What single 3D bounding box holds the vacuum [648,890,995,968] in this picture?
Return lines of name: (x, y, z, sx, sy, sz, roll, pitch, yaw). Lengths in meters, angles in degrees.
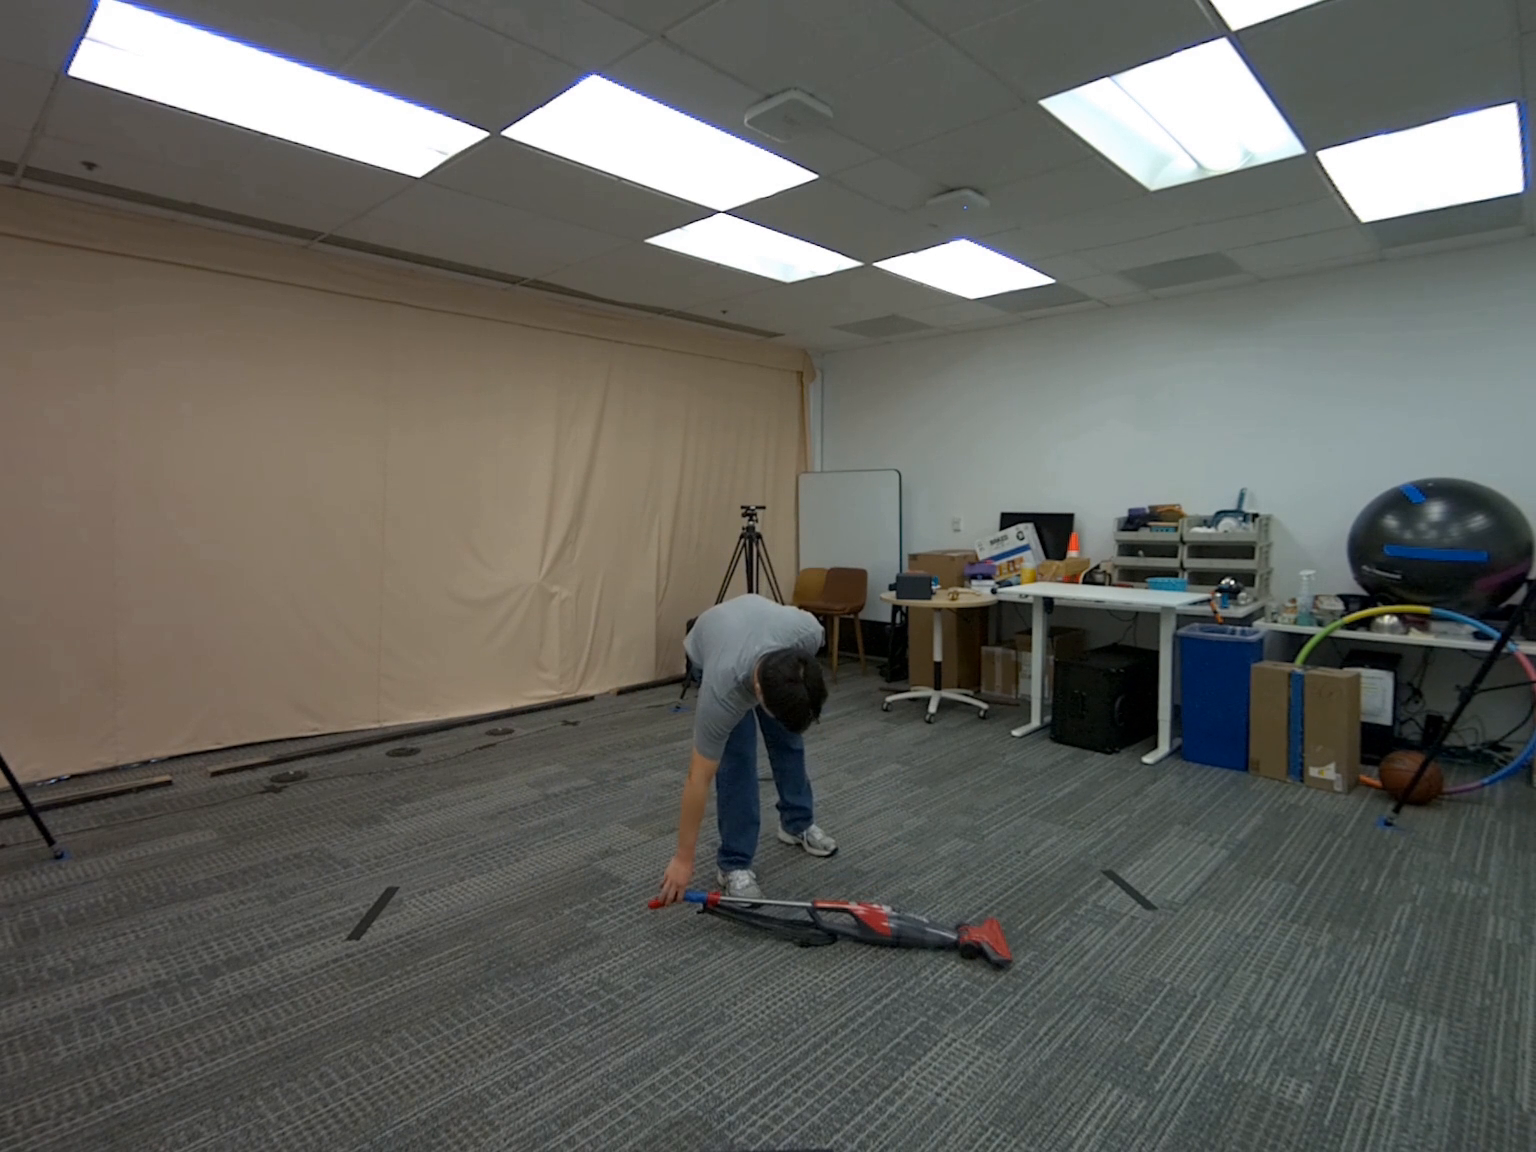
vacuum: (0.130, 1.090, 2.712, 1.059, 0.143, 0.252, 3, 14, 8)
